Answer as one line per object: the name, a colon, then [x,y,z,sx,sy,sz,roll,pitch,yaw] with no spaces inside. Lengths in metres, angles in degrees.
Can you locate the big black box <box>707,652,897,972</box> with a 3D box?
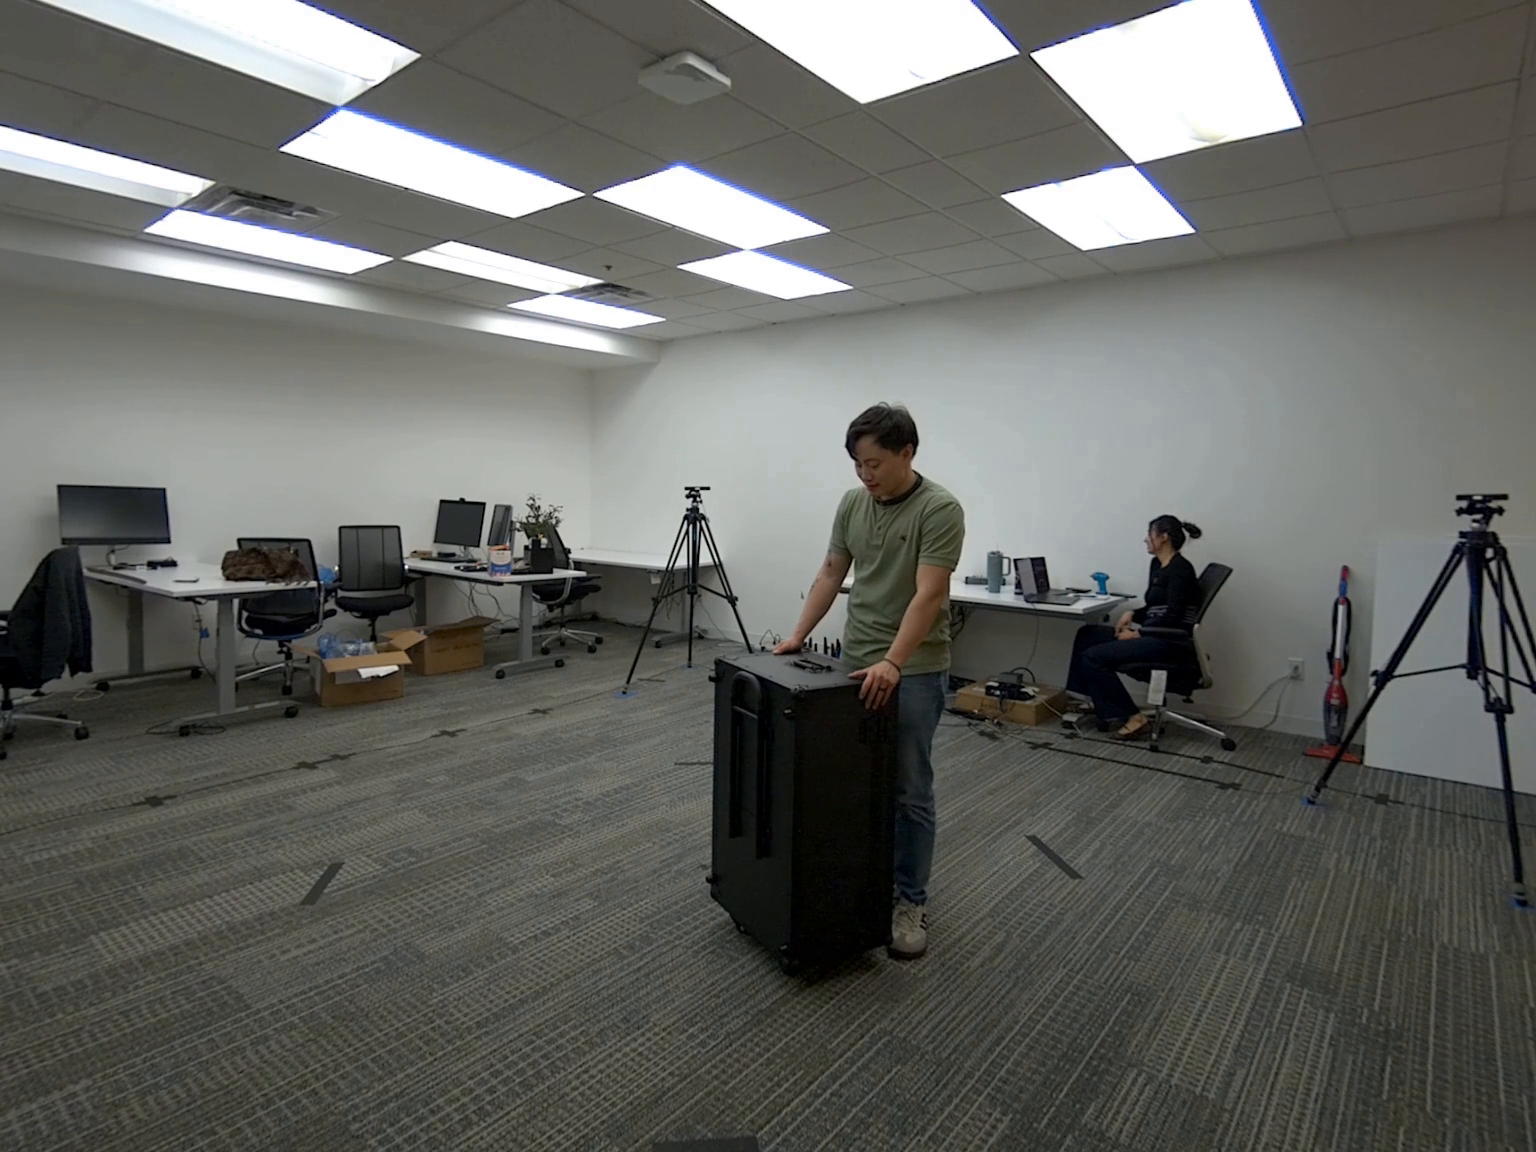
big black box: [0.083,0.699,2.577,0.386,0.858,0.537,-2,6,-30]
